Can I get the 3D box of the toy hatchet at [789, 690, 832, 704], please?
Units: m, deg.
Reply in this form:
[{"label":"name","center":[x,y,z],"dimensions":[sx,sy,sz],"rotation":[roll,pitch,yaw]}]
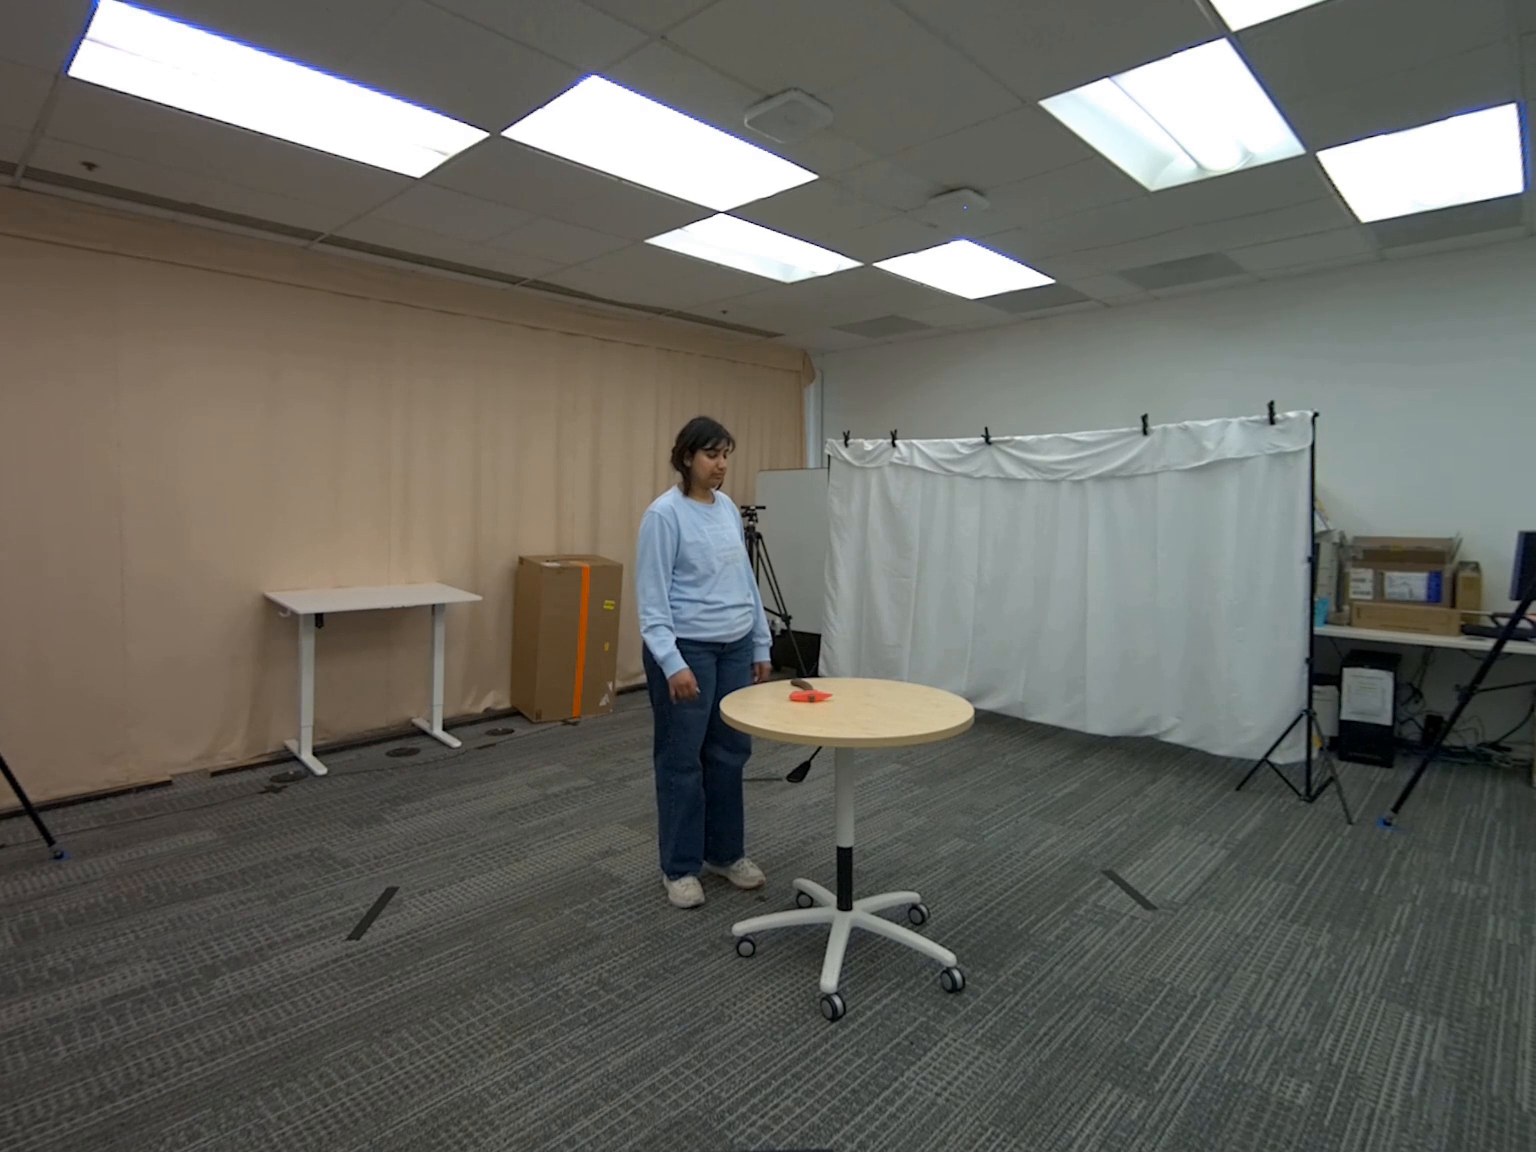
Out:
[{"label":"toy hatchet","center":[0.094,0.372,2.720],"dimensions":[0.129,0.029,0.275],"rotation":[-7,5,-19]}]
